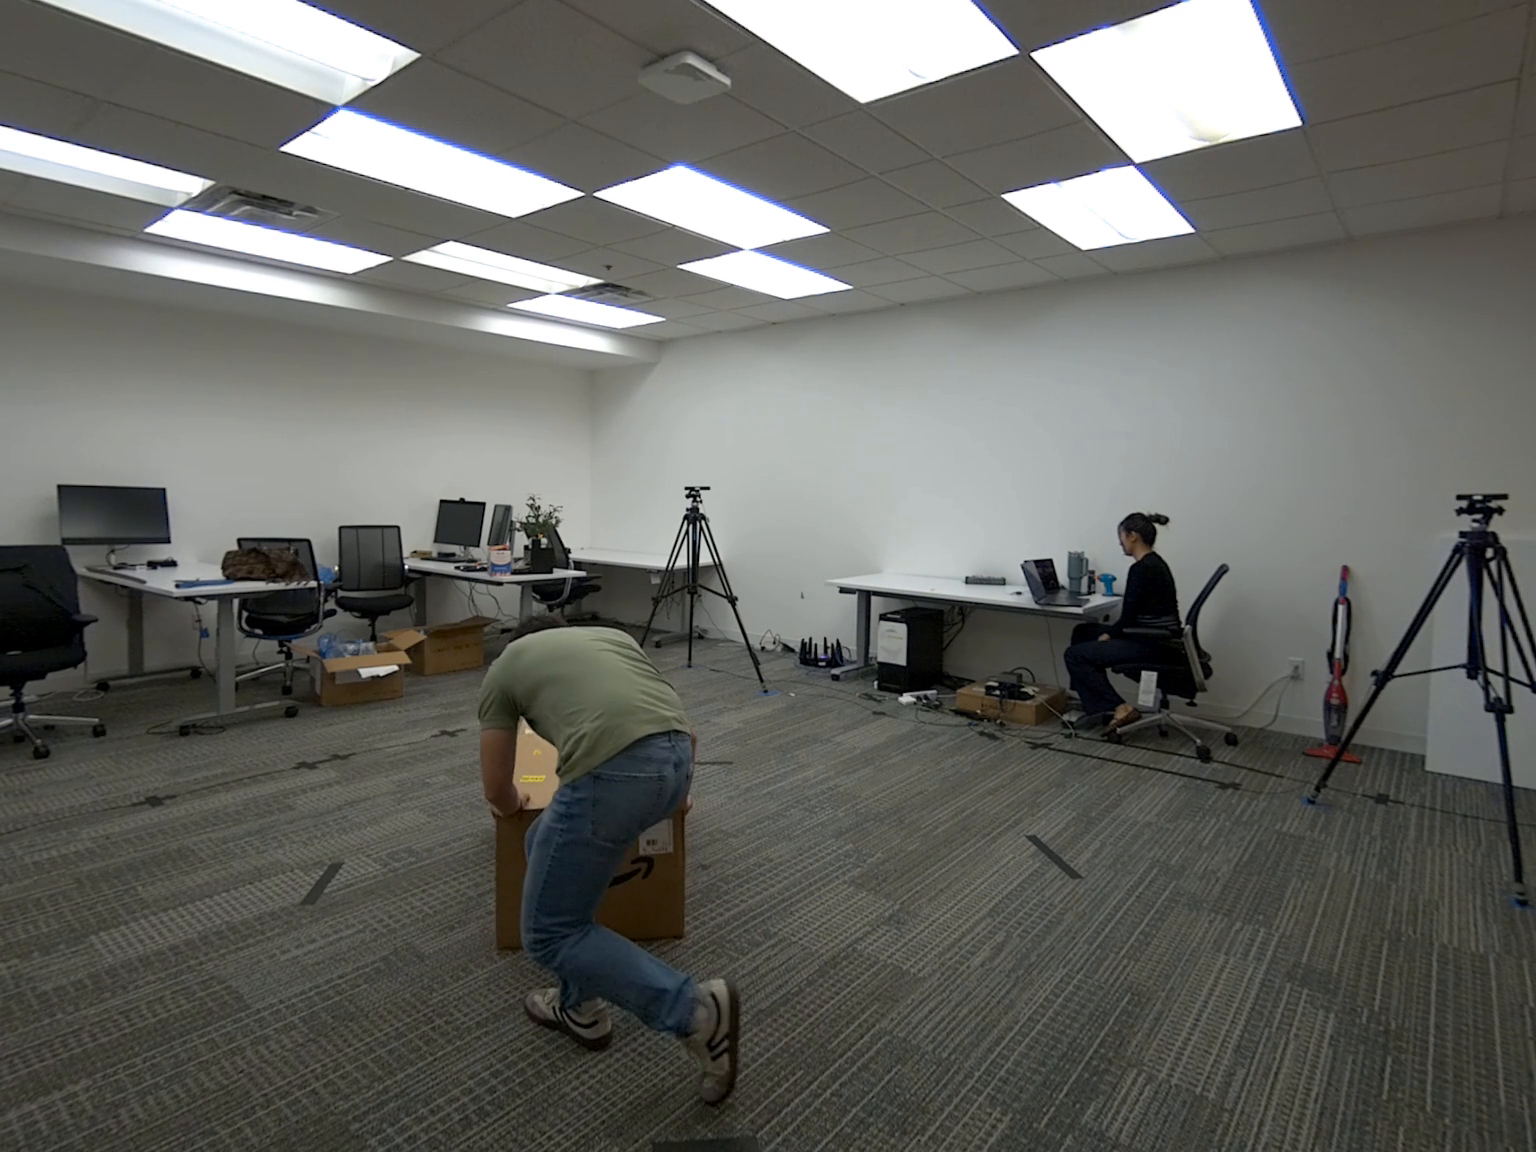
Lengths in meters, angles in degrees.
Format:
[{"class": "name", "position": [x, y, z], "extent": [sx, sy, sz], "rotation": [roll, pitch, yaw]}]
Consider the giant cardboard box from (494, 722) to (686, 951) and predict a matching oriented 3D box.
[{"class": "giant cardboard box", "position": [-0.643, 0.847, 3.071], "extent": [0.571, 0.424, 1.041], "rotation": [-1, 5, -11]}]
